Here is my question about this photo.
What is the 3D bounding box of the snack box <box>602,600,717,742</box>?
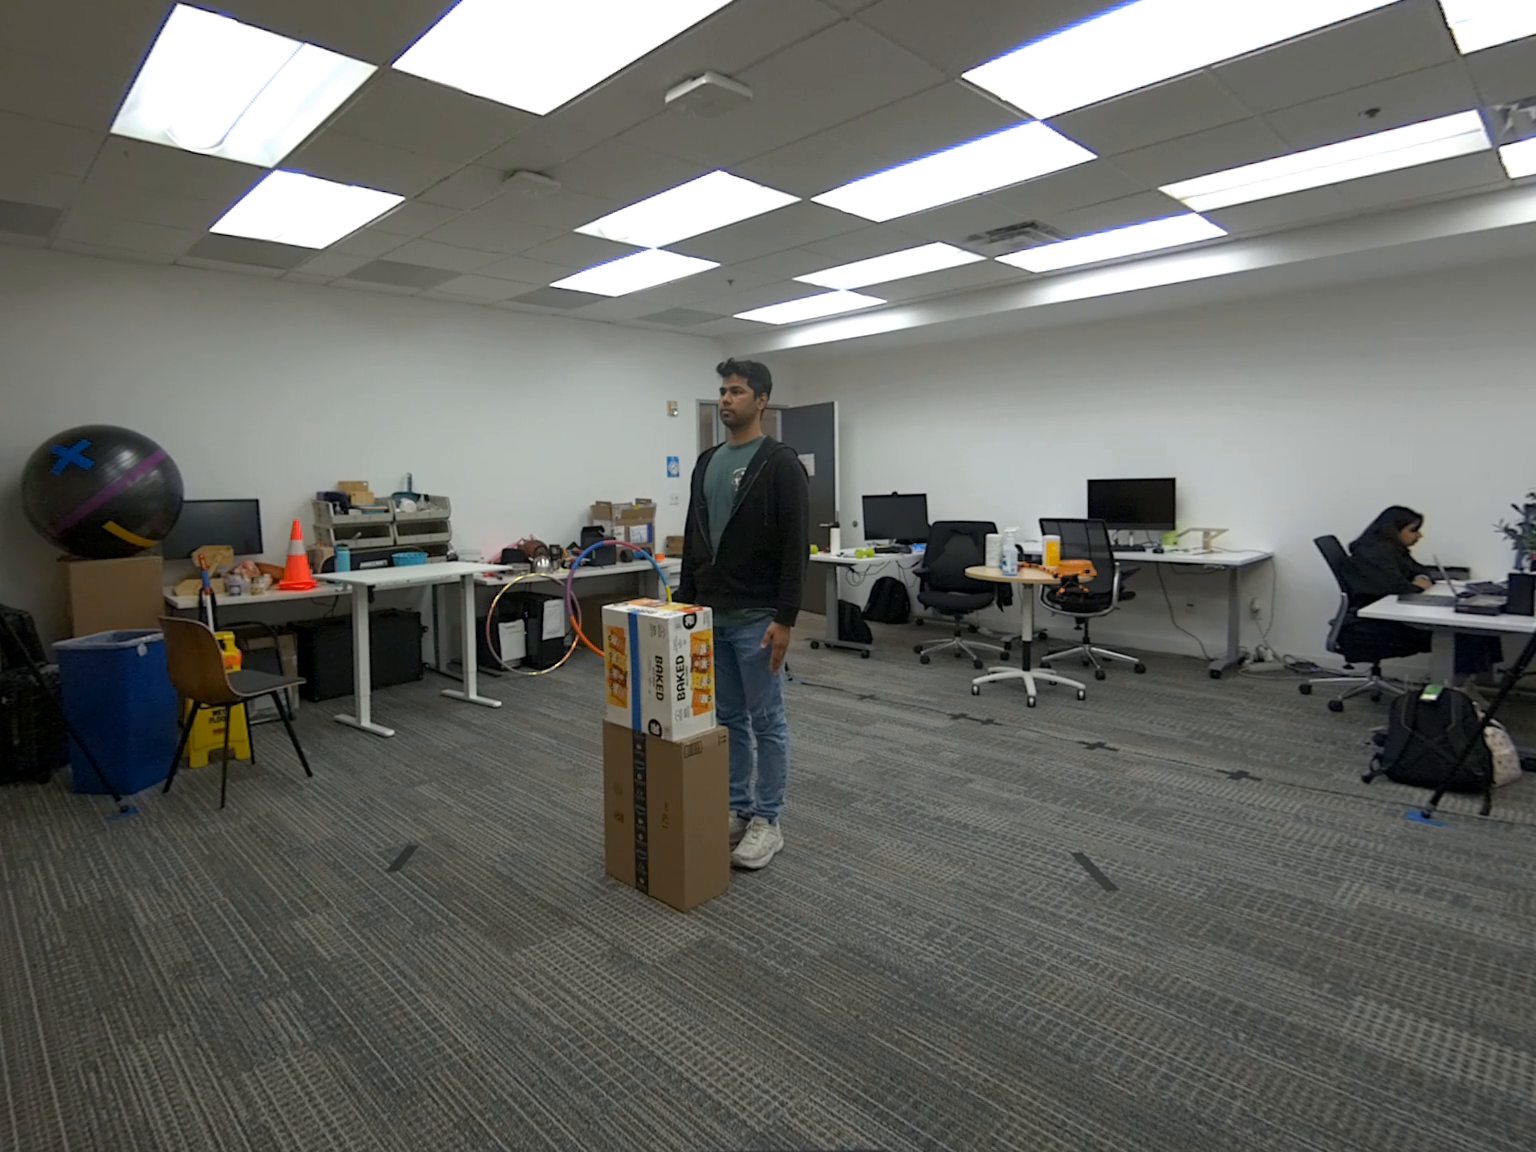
[{"bbox_3d":[-0.366,0.304,2.901,0.351,0.403,0.200,4,8,44],"label":"snack box"}]
